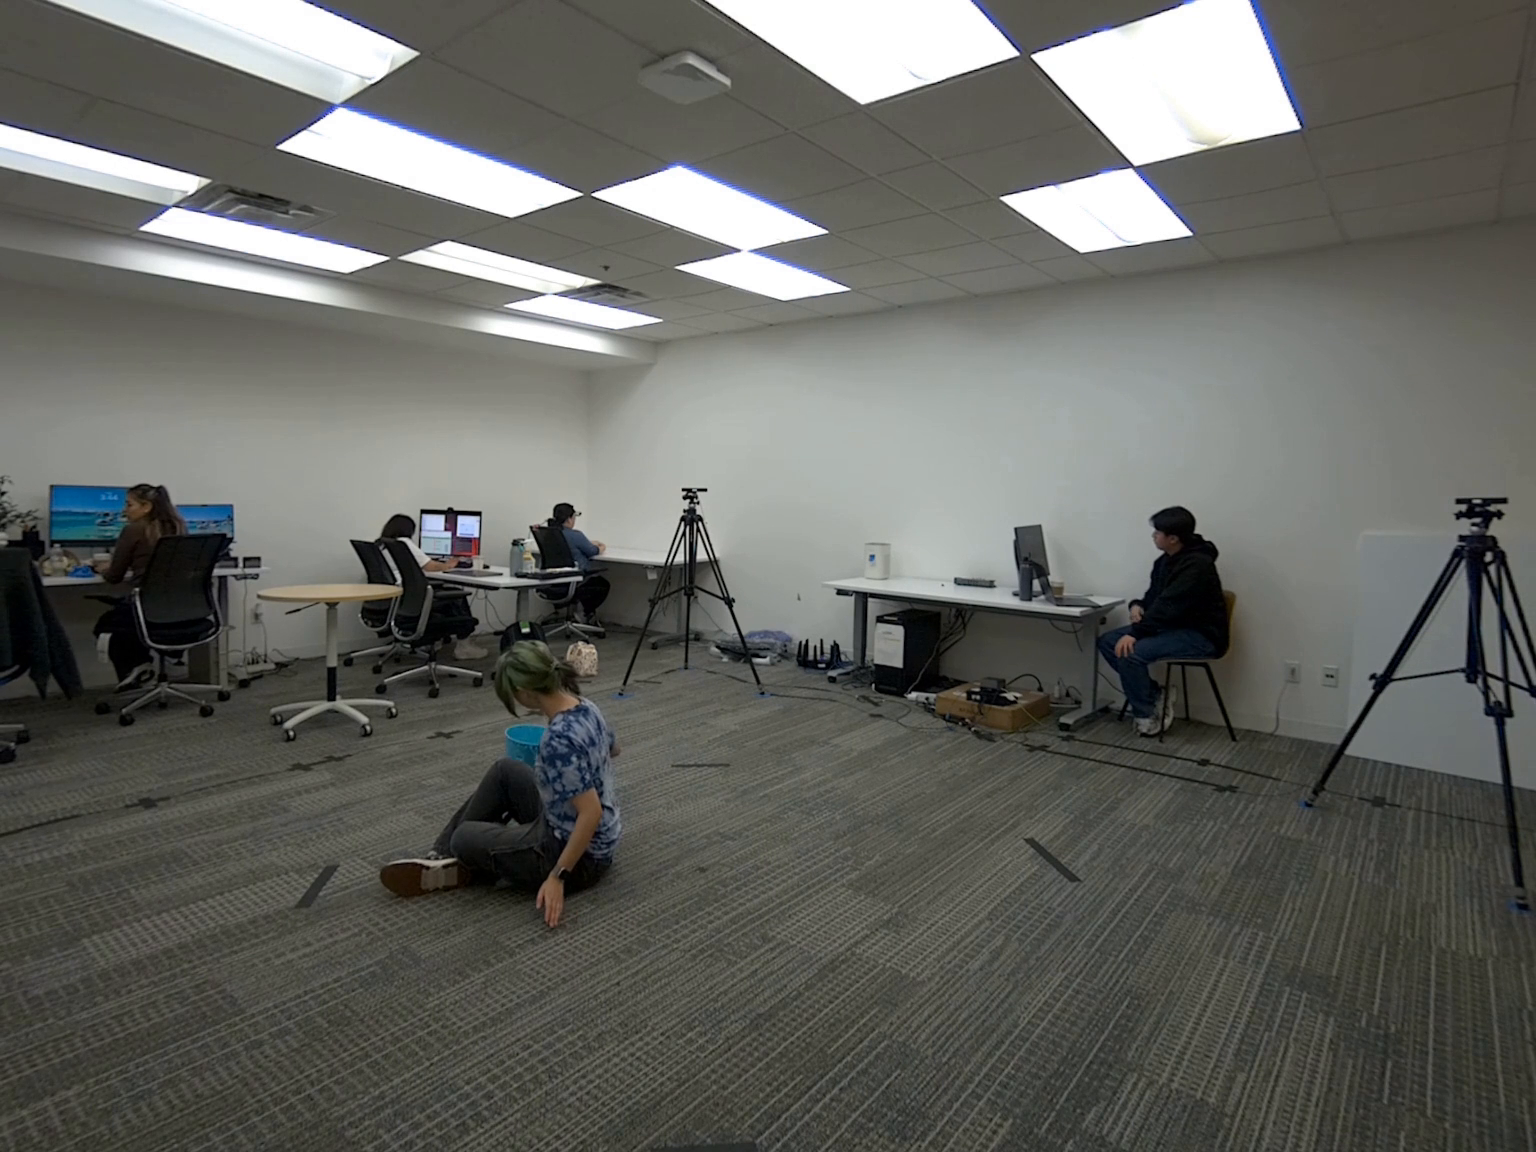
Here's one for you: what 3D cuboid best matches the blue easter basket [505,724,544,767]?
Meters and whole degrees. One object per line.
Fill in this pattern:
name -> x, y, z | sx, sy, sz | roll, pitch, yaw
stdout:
blue easter basket -> -1.018, 0.734, 3.548 | 0.243, 0.155, 0.245 | 10, 5, -3
